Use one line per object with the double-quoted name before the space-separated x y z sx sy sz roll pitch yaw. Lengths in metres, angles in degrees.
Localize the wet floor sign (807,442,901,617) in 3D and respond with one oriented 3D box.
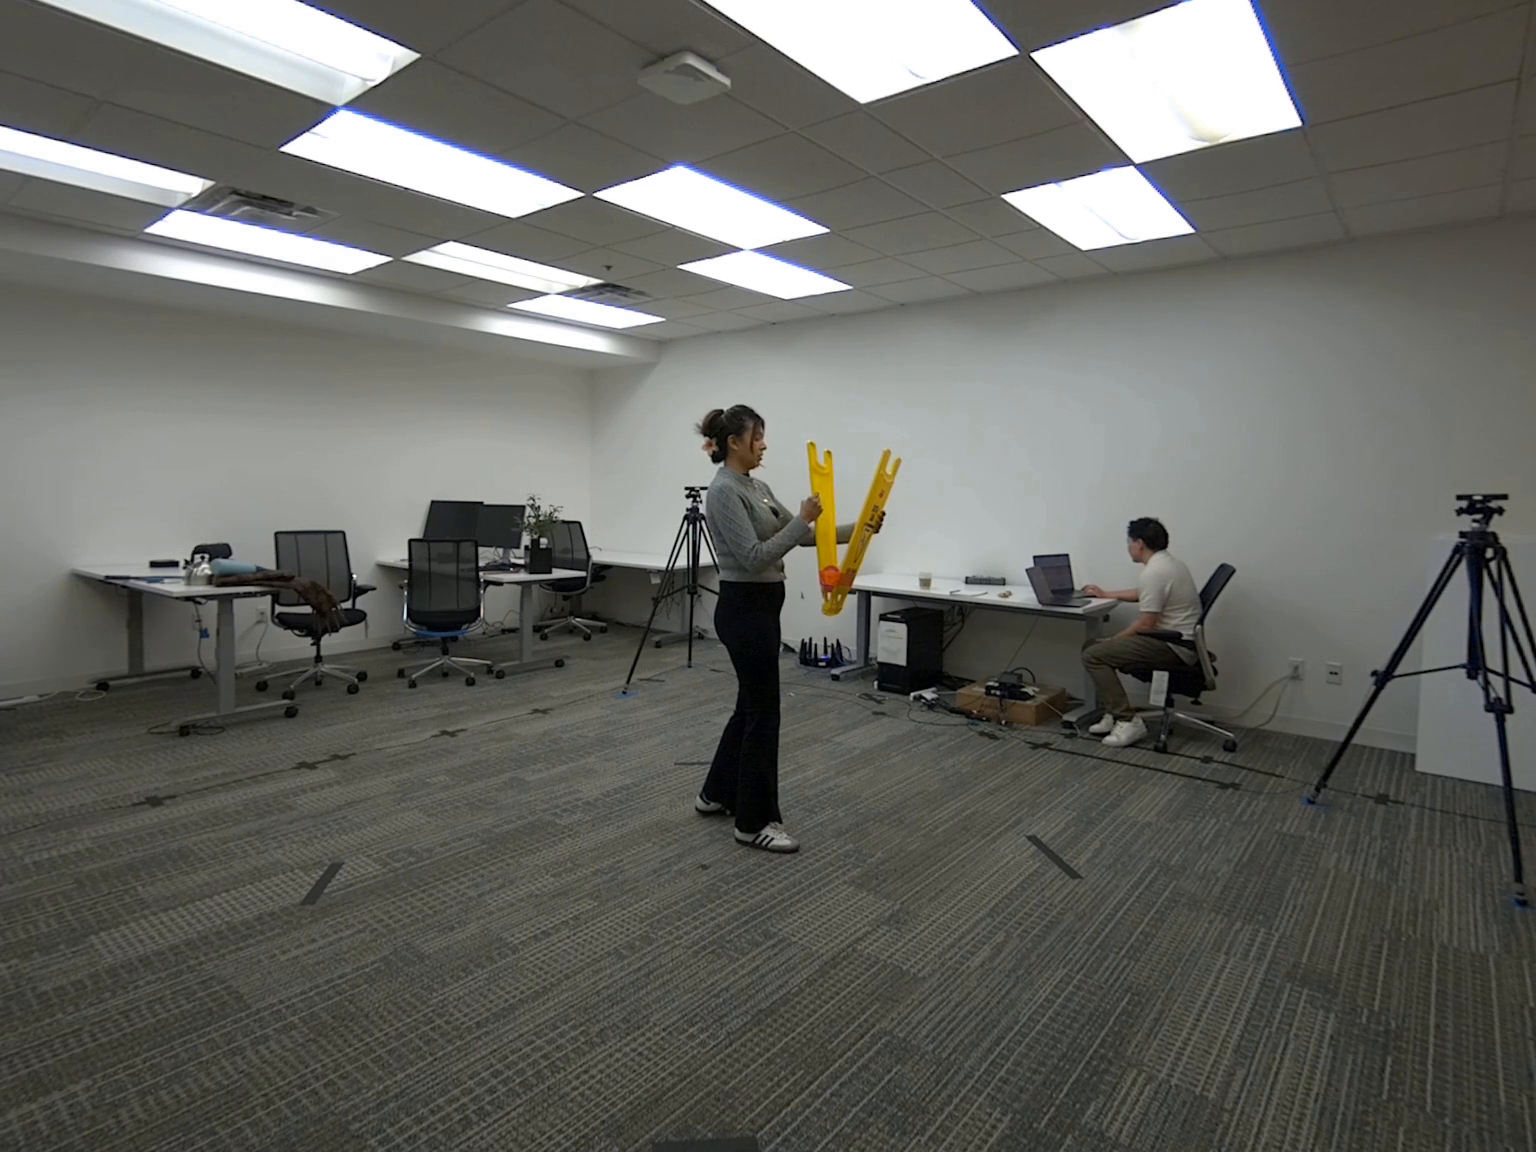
"wet floor sign" 0.284 -0.171 3.281 0.297 0.646 0.275 8 0 22
